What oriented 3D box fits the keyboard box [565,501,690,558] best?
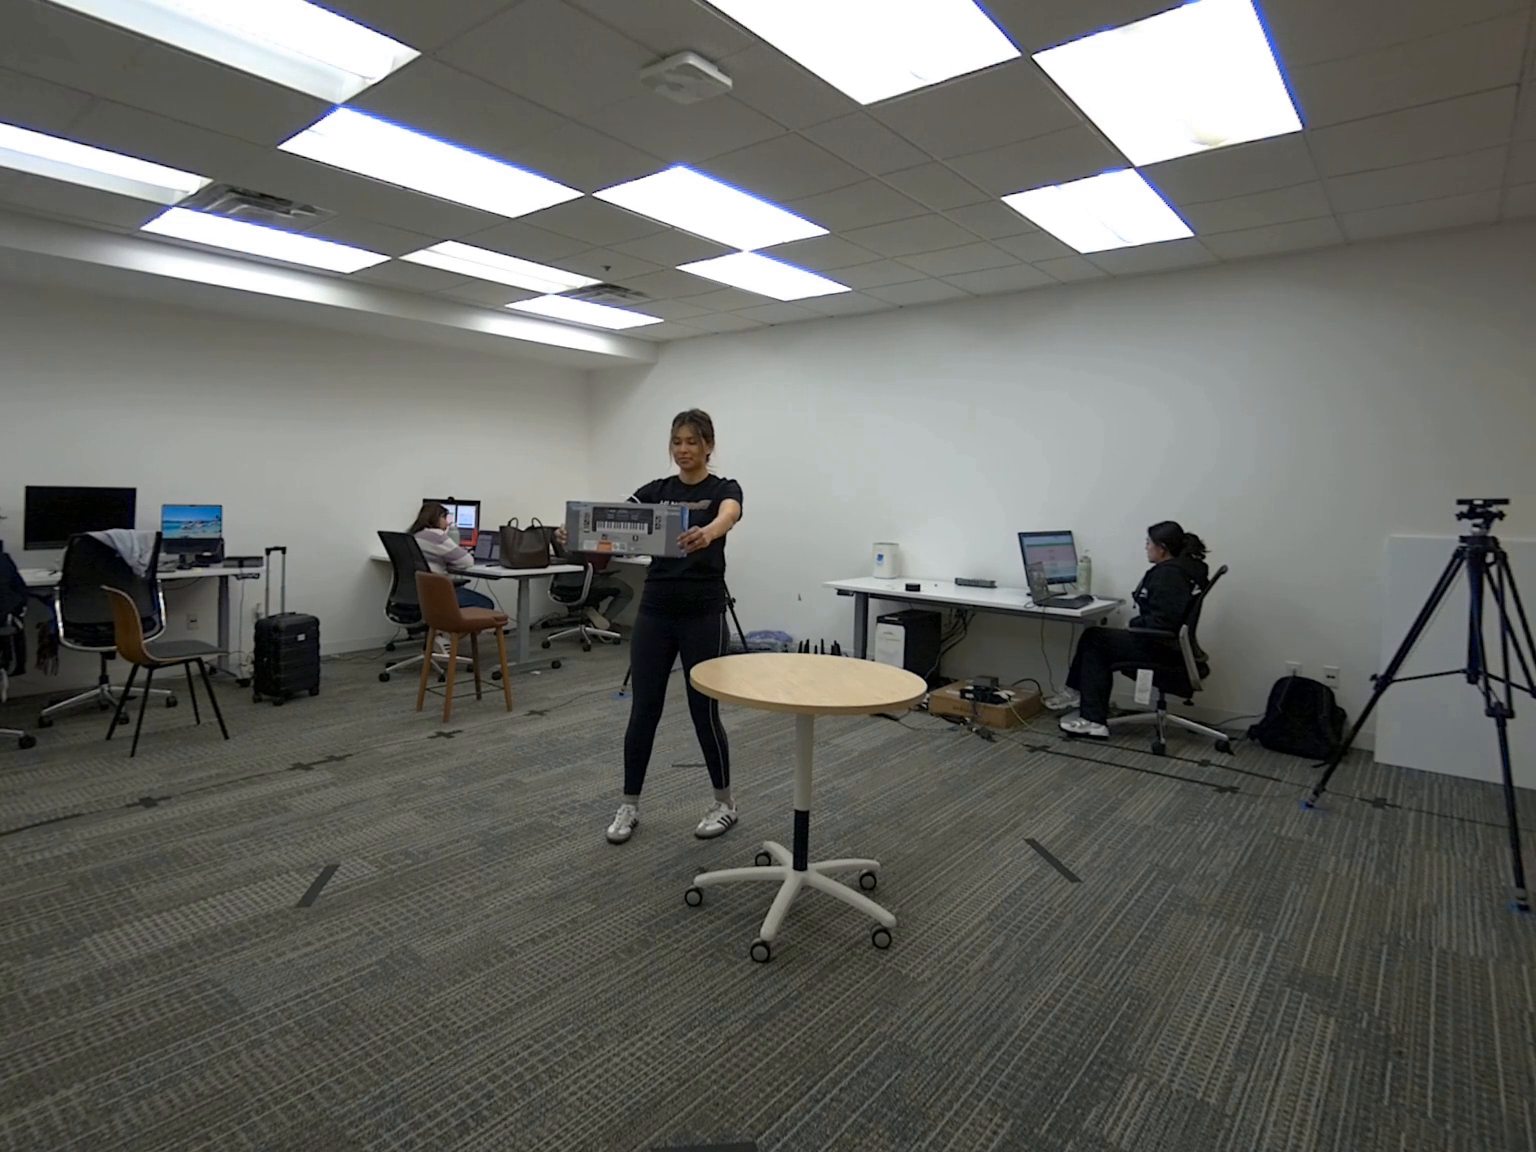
[{"bbox_3d":[-0.500,-0.165,2.901,0.446,0.176,0.058,3,0,19],"label":"keyboard box"}]
